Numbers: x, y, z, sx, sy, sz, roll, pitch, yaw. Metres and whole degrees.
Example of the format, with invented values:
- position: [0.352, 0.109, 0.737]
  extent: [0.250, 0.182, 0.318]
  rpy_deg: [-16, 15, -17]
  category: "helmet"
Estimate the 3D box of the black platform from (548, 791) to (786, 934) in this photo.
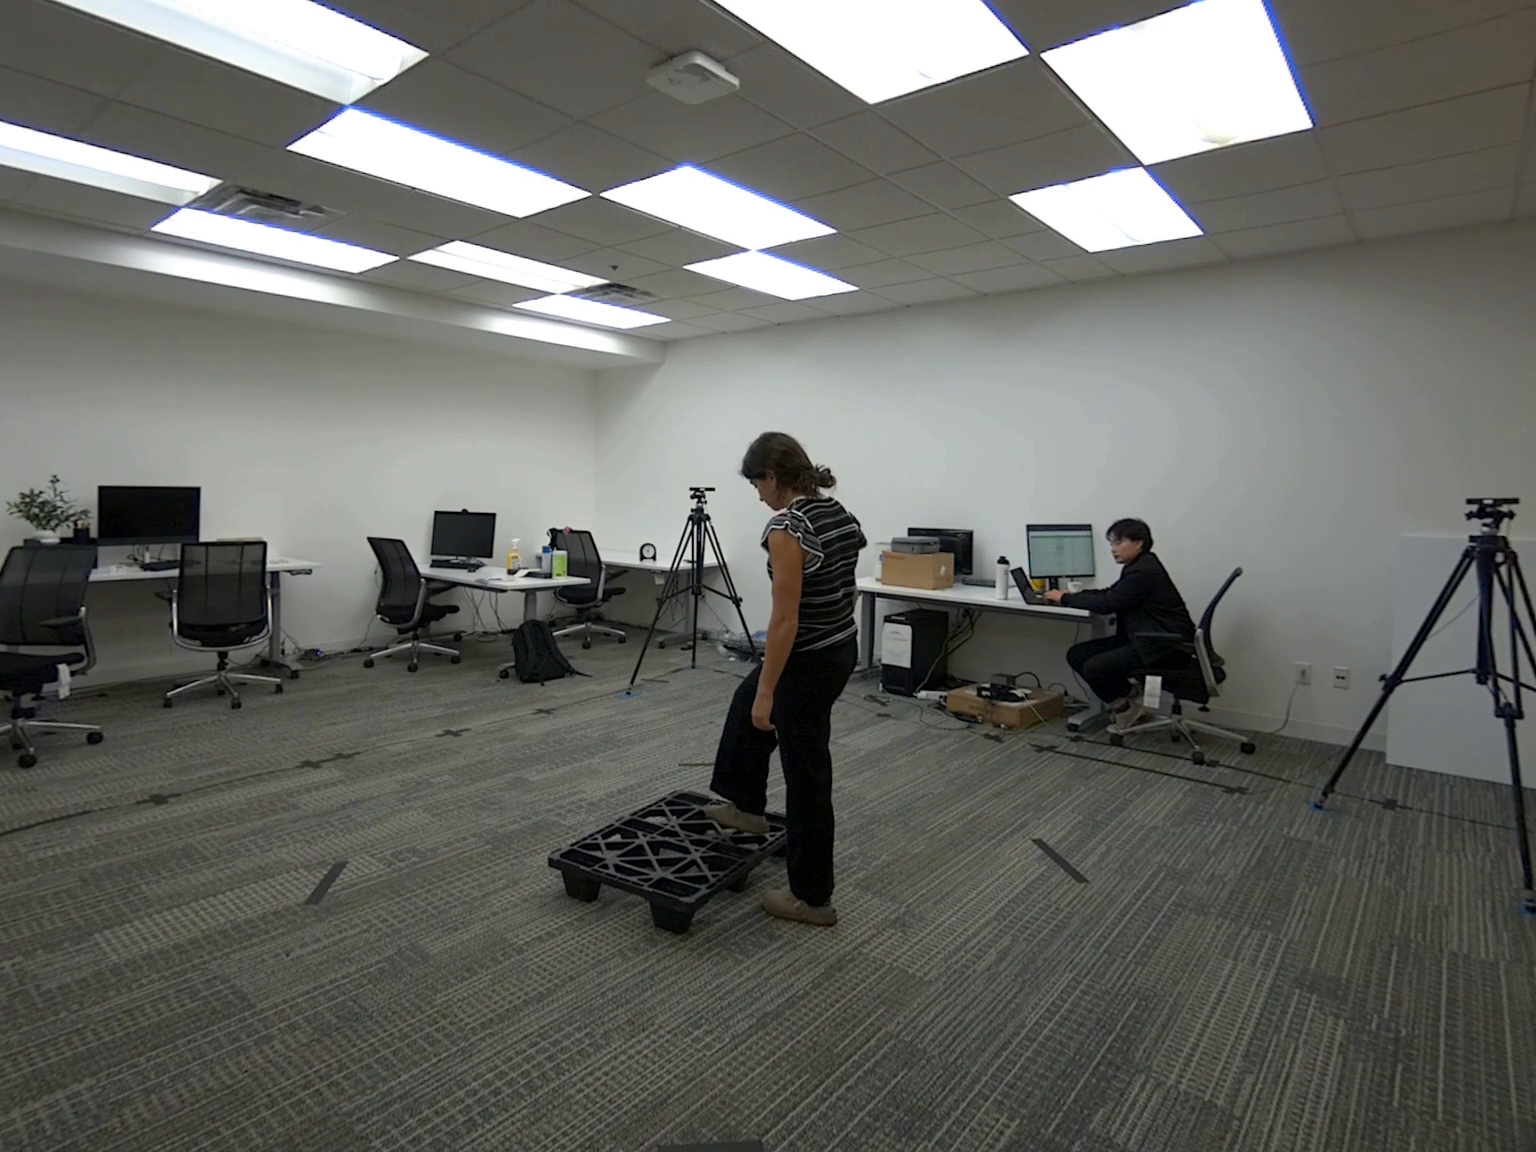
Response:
- position: [-0.318, 1.000, 3.066]
  extent: [0.623, 0.143, 0.785]
  rpy_deg: [3, 5, 30]
  category: "black platform"
